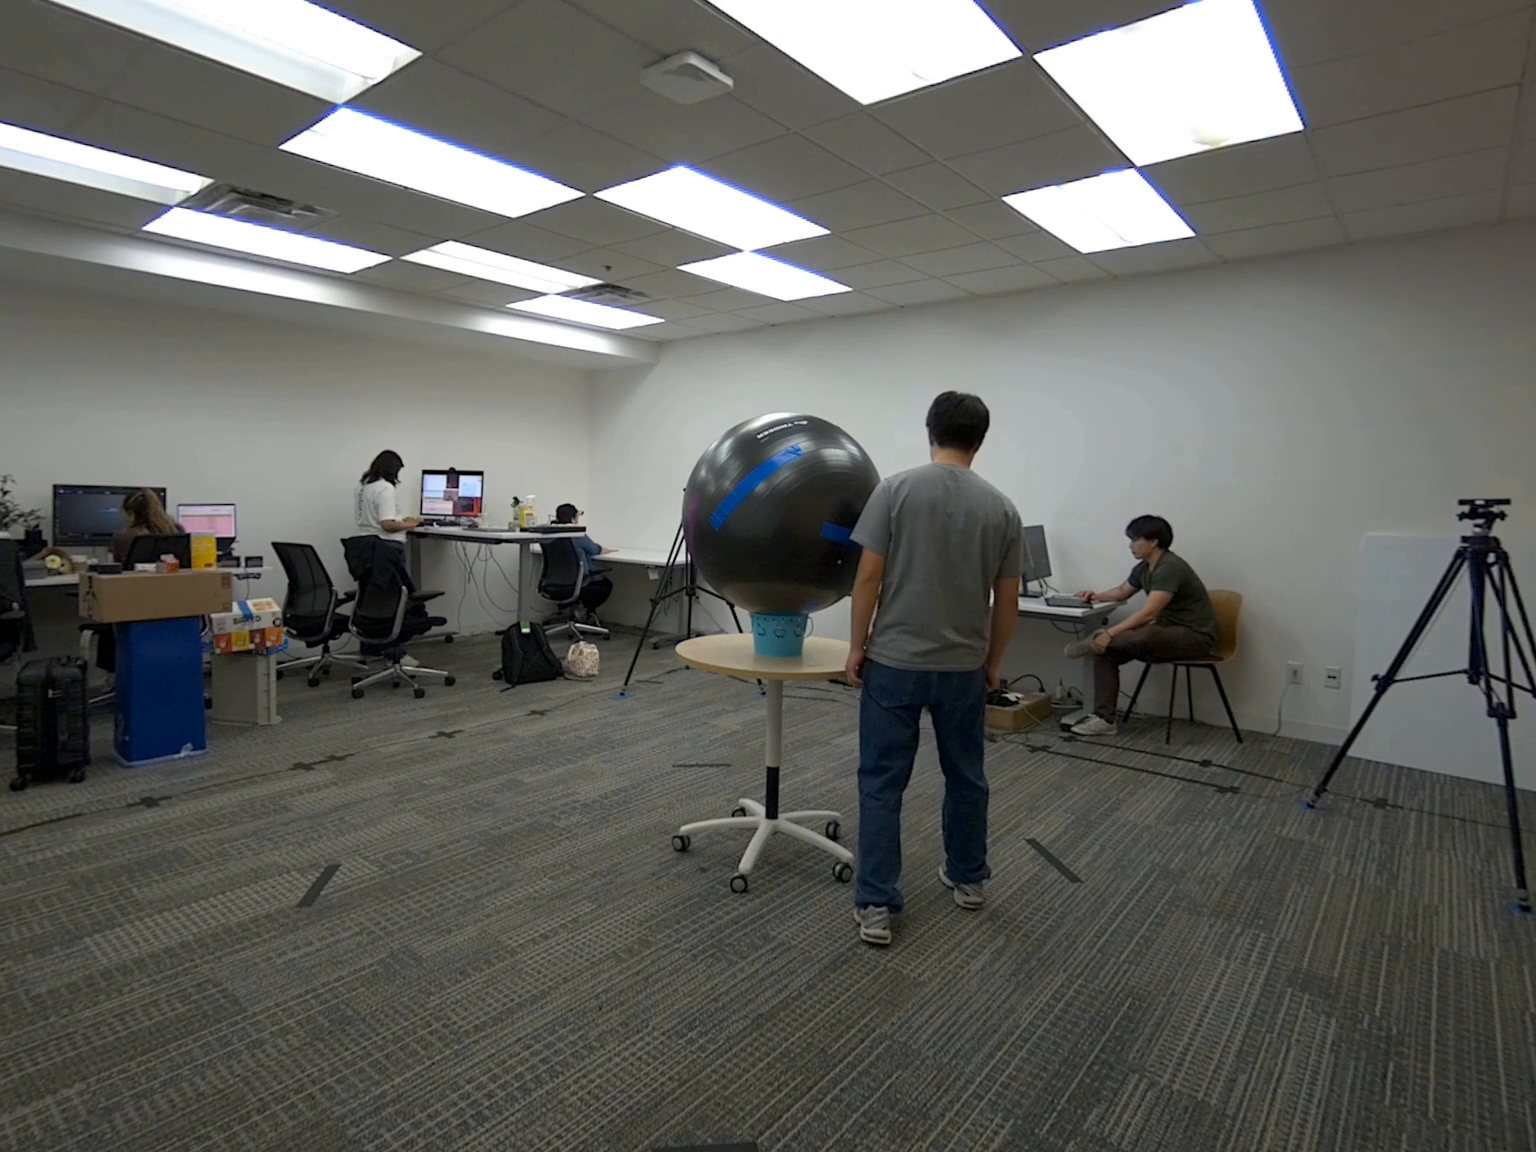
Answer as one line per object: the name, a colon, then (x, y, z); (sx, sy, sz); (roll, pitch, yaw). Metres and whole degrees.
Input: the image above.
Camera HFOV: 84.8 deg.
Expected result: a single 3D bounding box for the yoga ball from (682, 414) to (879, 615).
yoga ball: (0.042, -0.229, 3.181); (0.757, 0.755, 0.762); (1, 4, -2)
